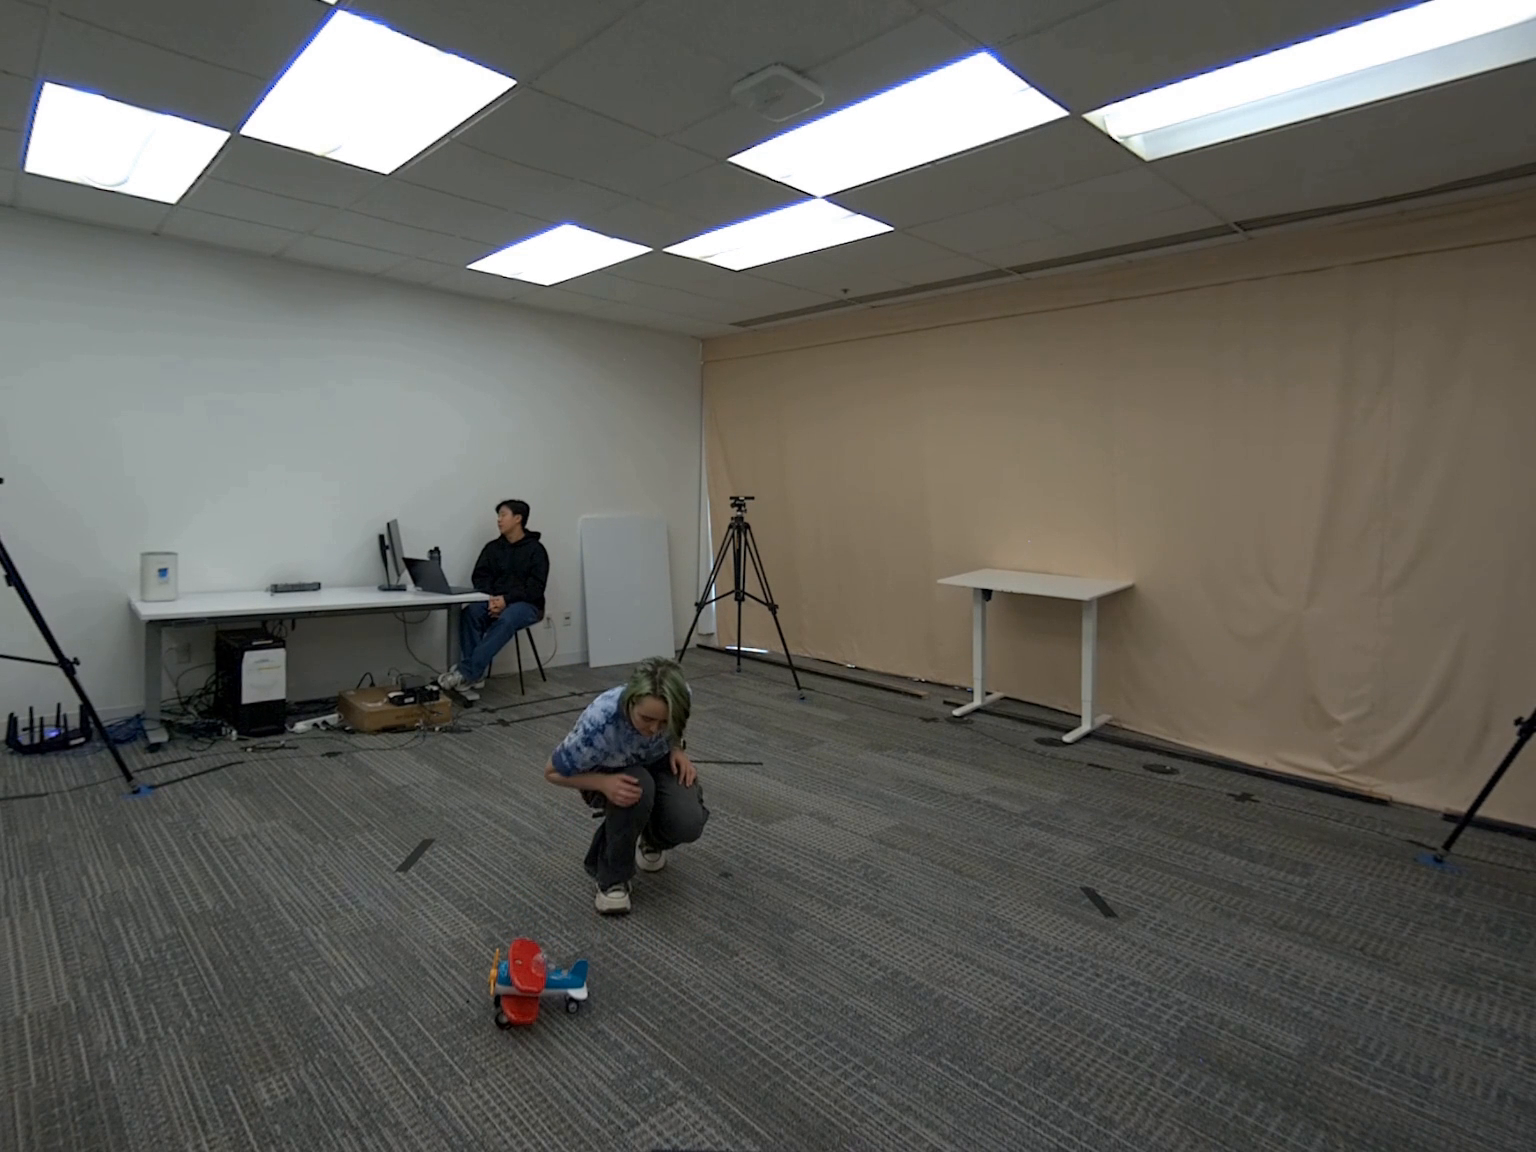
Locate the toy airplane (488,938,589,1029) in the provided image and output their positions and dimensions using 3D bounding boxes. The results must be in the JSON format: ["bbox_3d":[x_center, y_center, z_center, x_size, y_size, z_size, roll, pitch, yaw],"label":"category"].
[{"bbox_3d":[-0.635,1.103,2.259,0.253,0.156,0.257,-5,7,-44],"label":"toy airplane"}]
